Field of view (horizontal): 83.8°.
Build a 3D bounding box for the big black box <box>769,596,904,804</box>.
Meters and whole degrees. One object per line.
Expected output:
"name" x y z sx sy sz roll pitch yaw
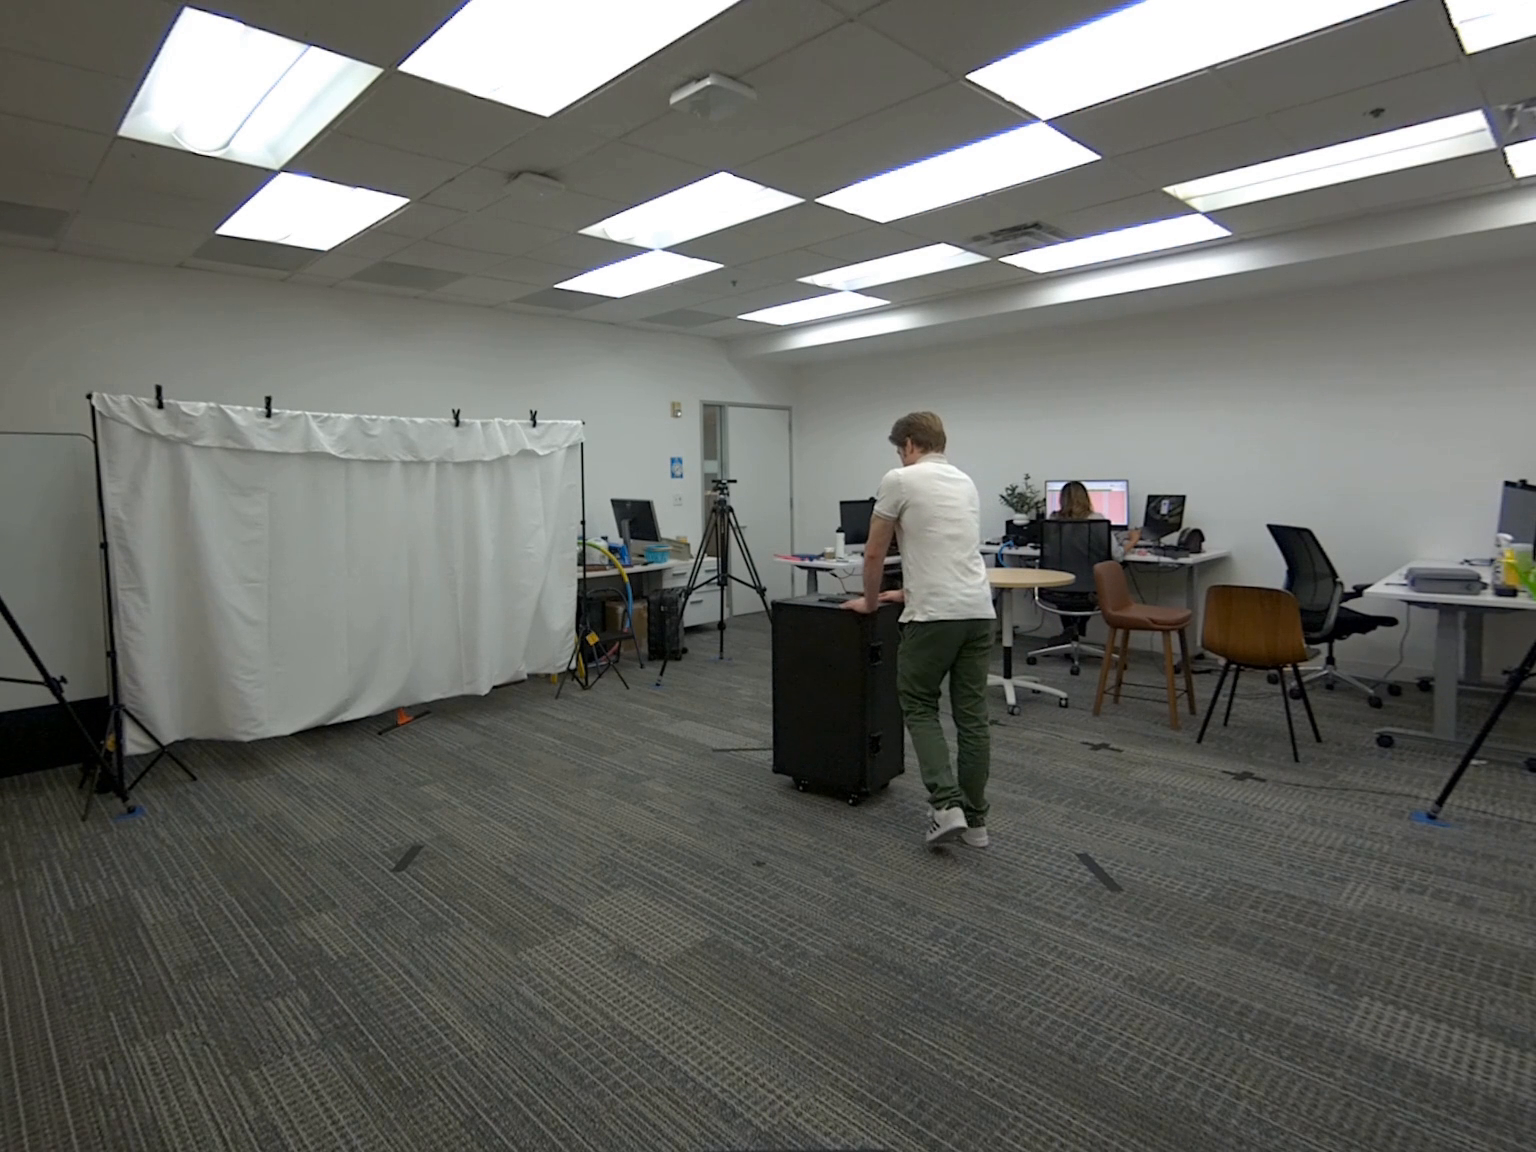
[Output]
"big black box" 0.311 0.536 3.844 0.539 0.865 0.375 3 5 36
